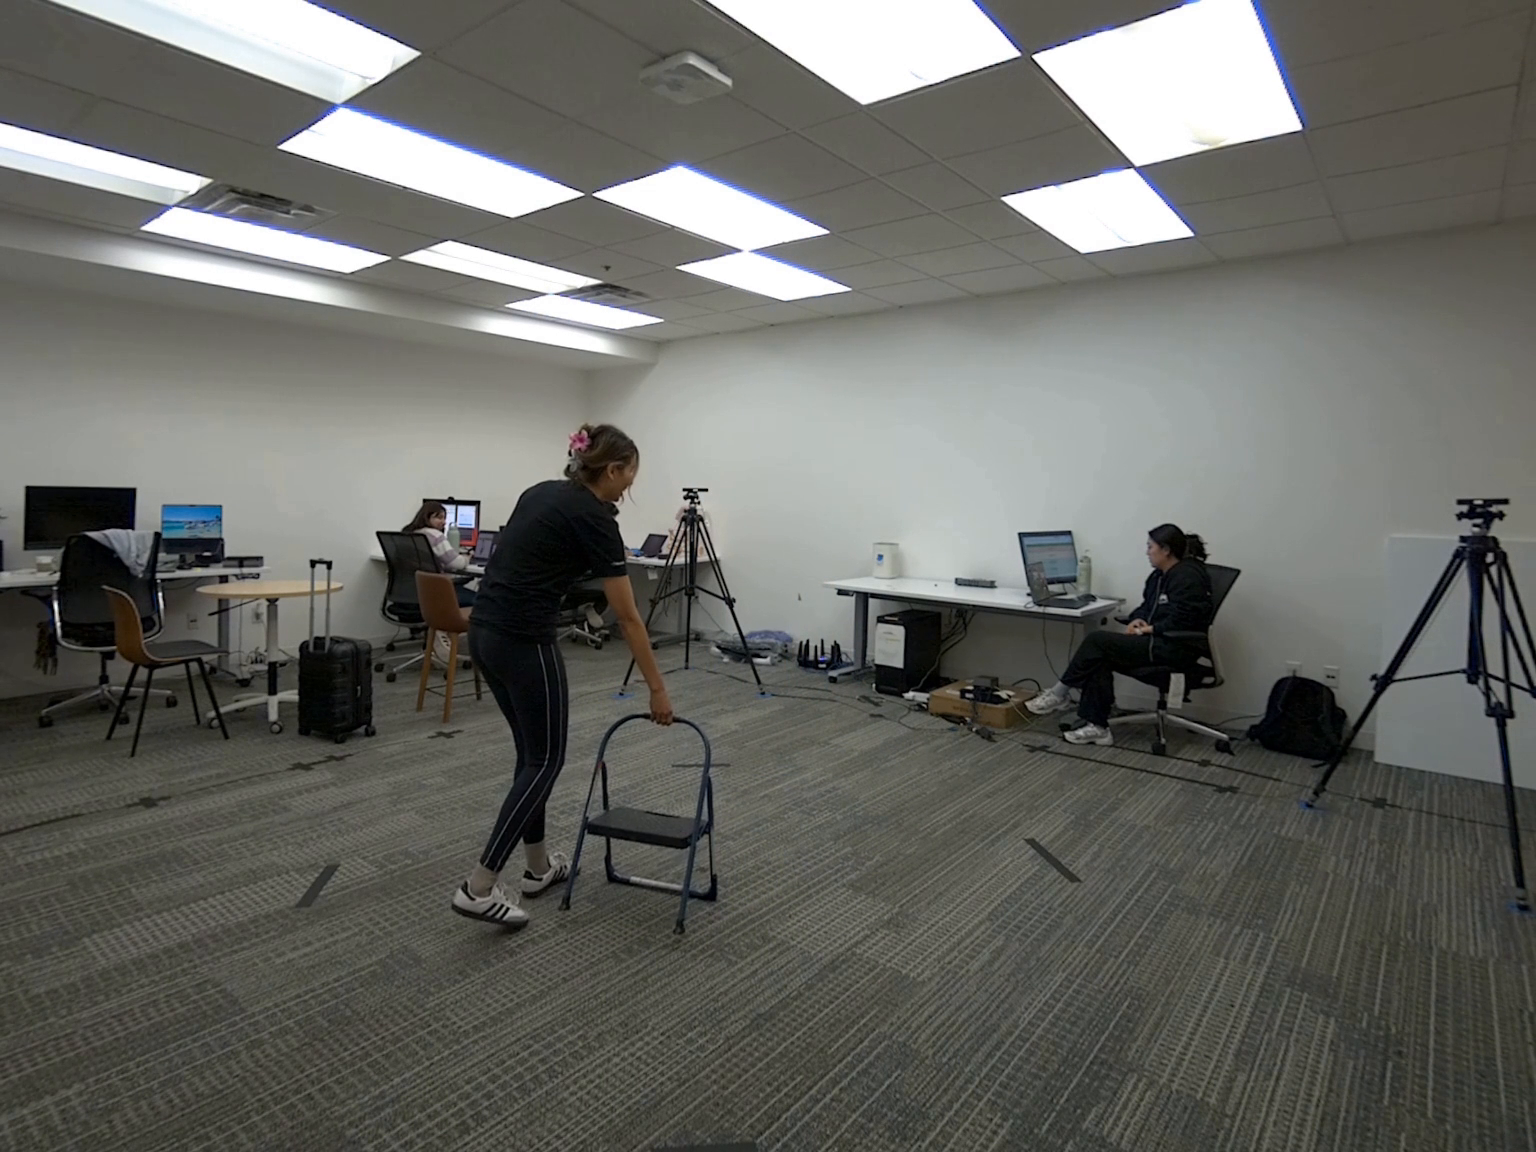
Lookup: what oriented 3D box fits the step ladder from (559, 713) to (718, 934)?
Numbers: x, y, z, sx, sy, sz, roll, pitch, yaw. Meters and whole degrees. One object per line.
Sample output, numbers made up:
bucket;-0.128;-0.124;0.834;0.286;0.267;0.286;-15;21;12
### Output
step ladder;-0.406;0.779;2.806;0.439;0.608;0.341;2;-3;17
